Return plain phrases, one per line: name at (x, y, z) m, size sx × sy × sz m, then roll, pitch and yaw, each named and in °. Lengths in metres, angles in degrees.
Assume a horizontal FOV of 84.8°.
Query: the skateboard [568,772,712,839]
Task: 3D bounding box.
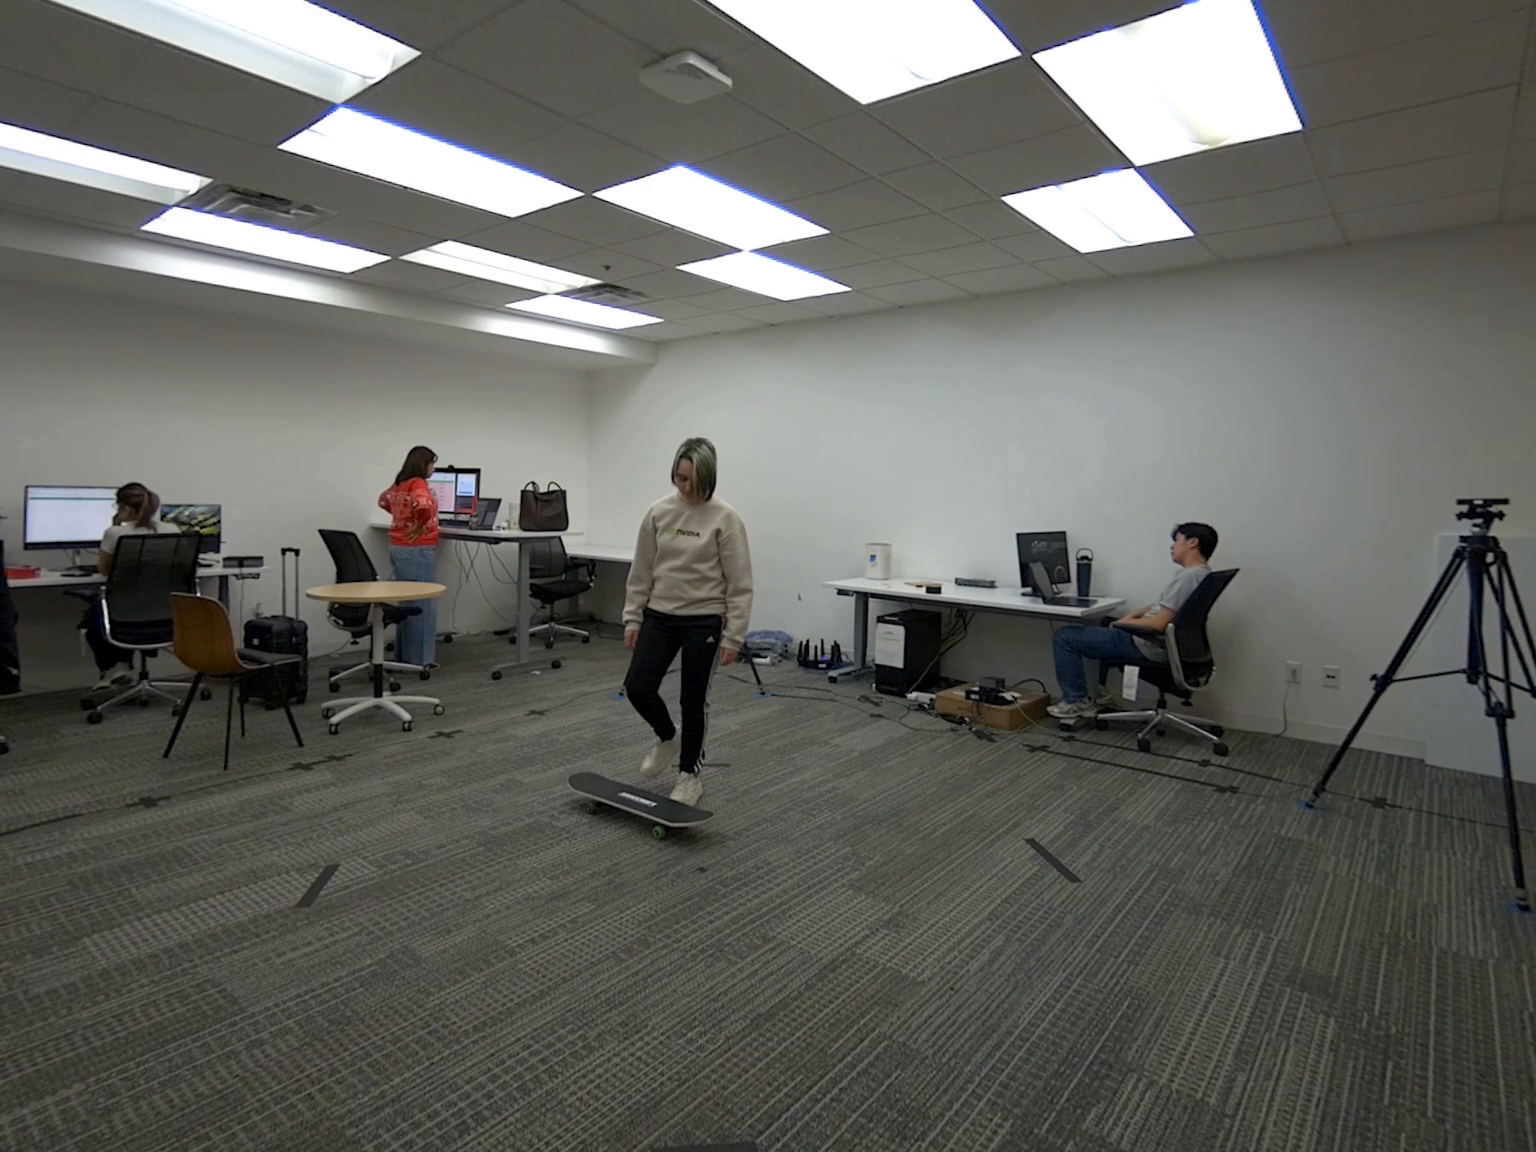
skateboard at (-0.560, 0.962, 3.555) m, size 0.812 × 0.110 × 0.188 m, roll 5°, pitch 8°, yaw 38°
